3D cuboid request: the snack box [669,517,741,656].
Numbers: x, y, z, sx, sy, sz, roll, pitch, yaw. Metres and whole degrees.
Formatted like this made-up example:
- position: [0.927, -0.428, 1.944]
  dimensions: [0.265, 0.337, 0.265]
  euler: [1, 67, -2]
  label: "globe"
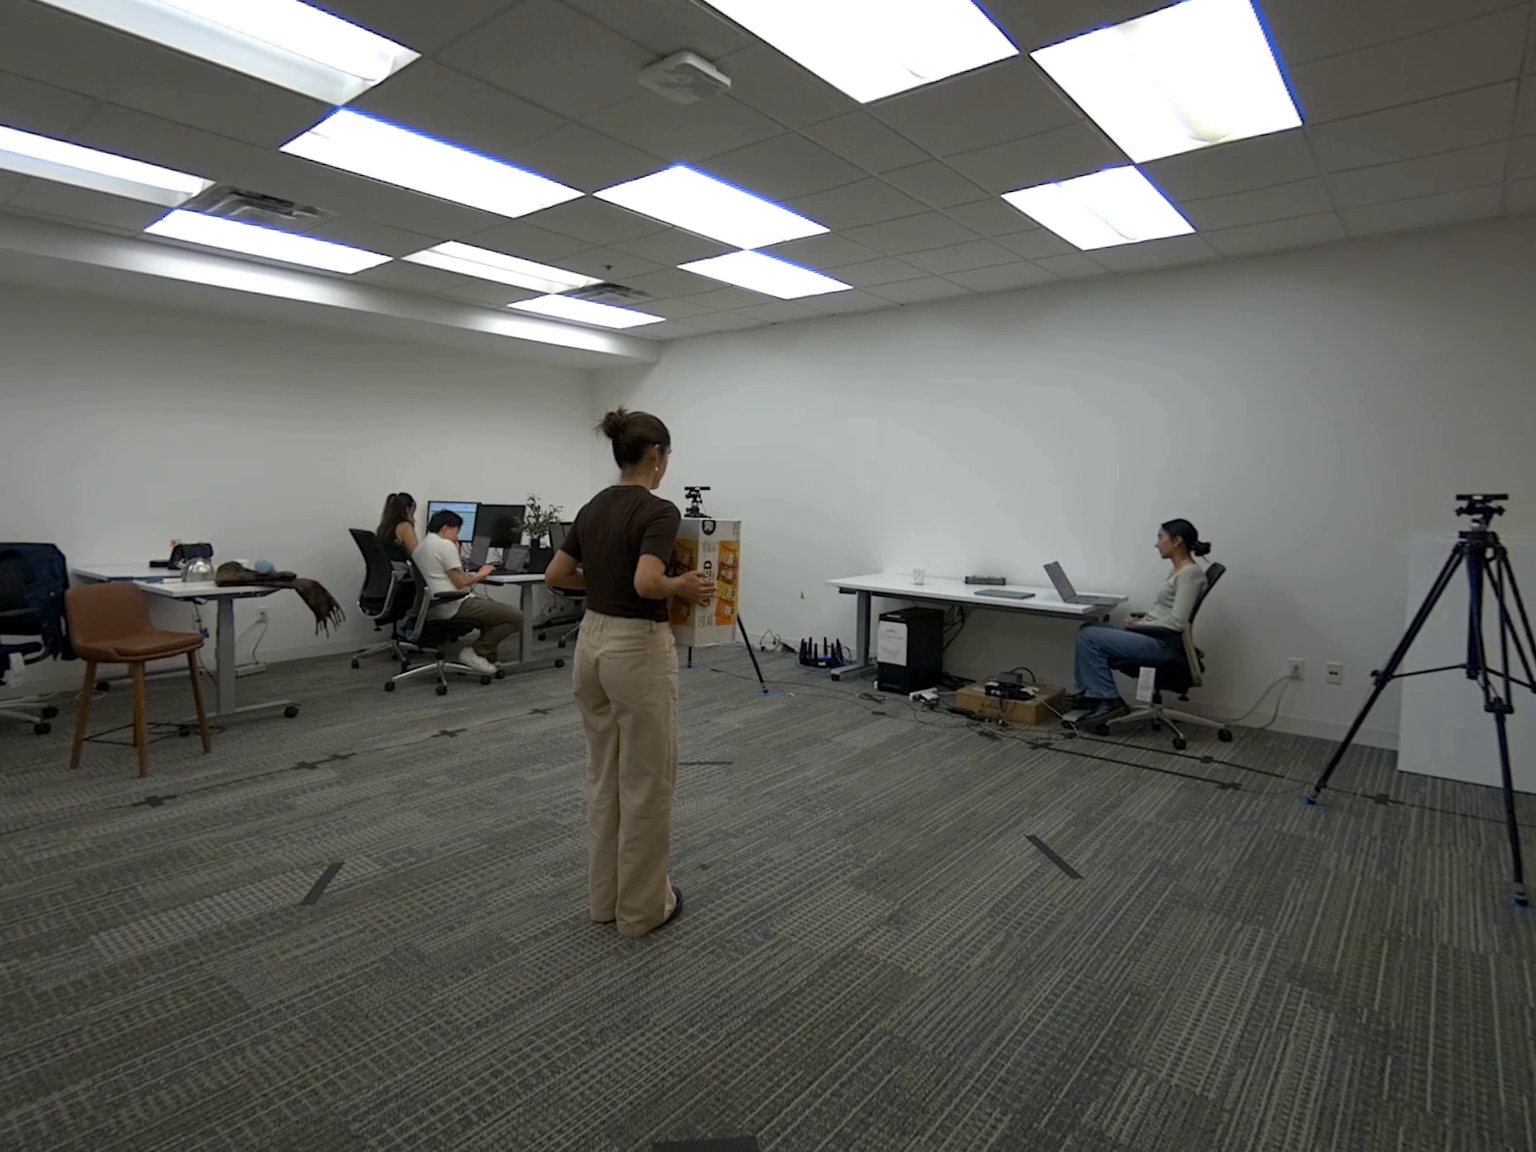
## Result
- position: [-0.298, 0.004, 2.846]
  dimensions: [0.352, 0.404, 0.199]
  euler: [6, 3, 42]
  label: "snack box"
